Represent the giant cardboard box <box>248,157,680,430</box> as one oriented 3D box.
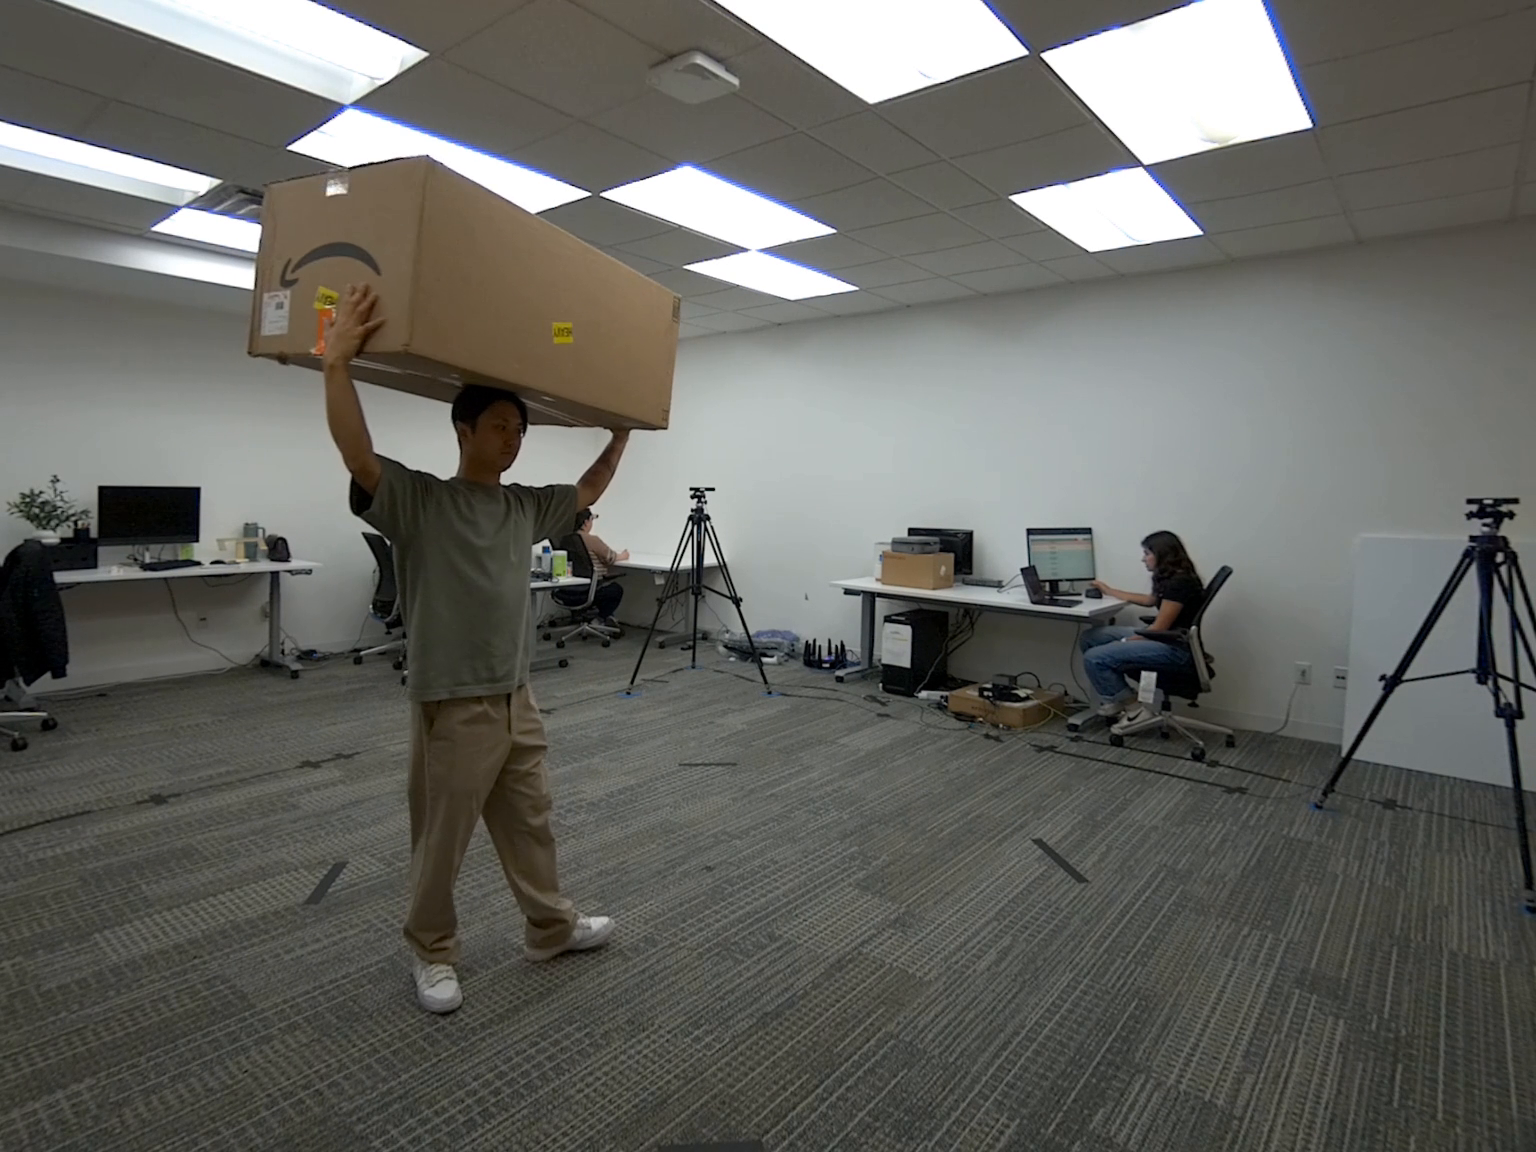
[{"bbox_3d":[-0.774,-0.702,2.367,0.595,0.426,0.997,7,2,27],"label":"giant cardboard box"}]
